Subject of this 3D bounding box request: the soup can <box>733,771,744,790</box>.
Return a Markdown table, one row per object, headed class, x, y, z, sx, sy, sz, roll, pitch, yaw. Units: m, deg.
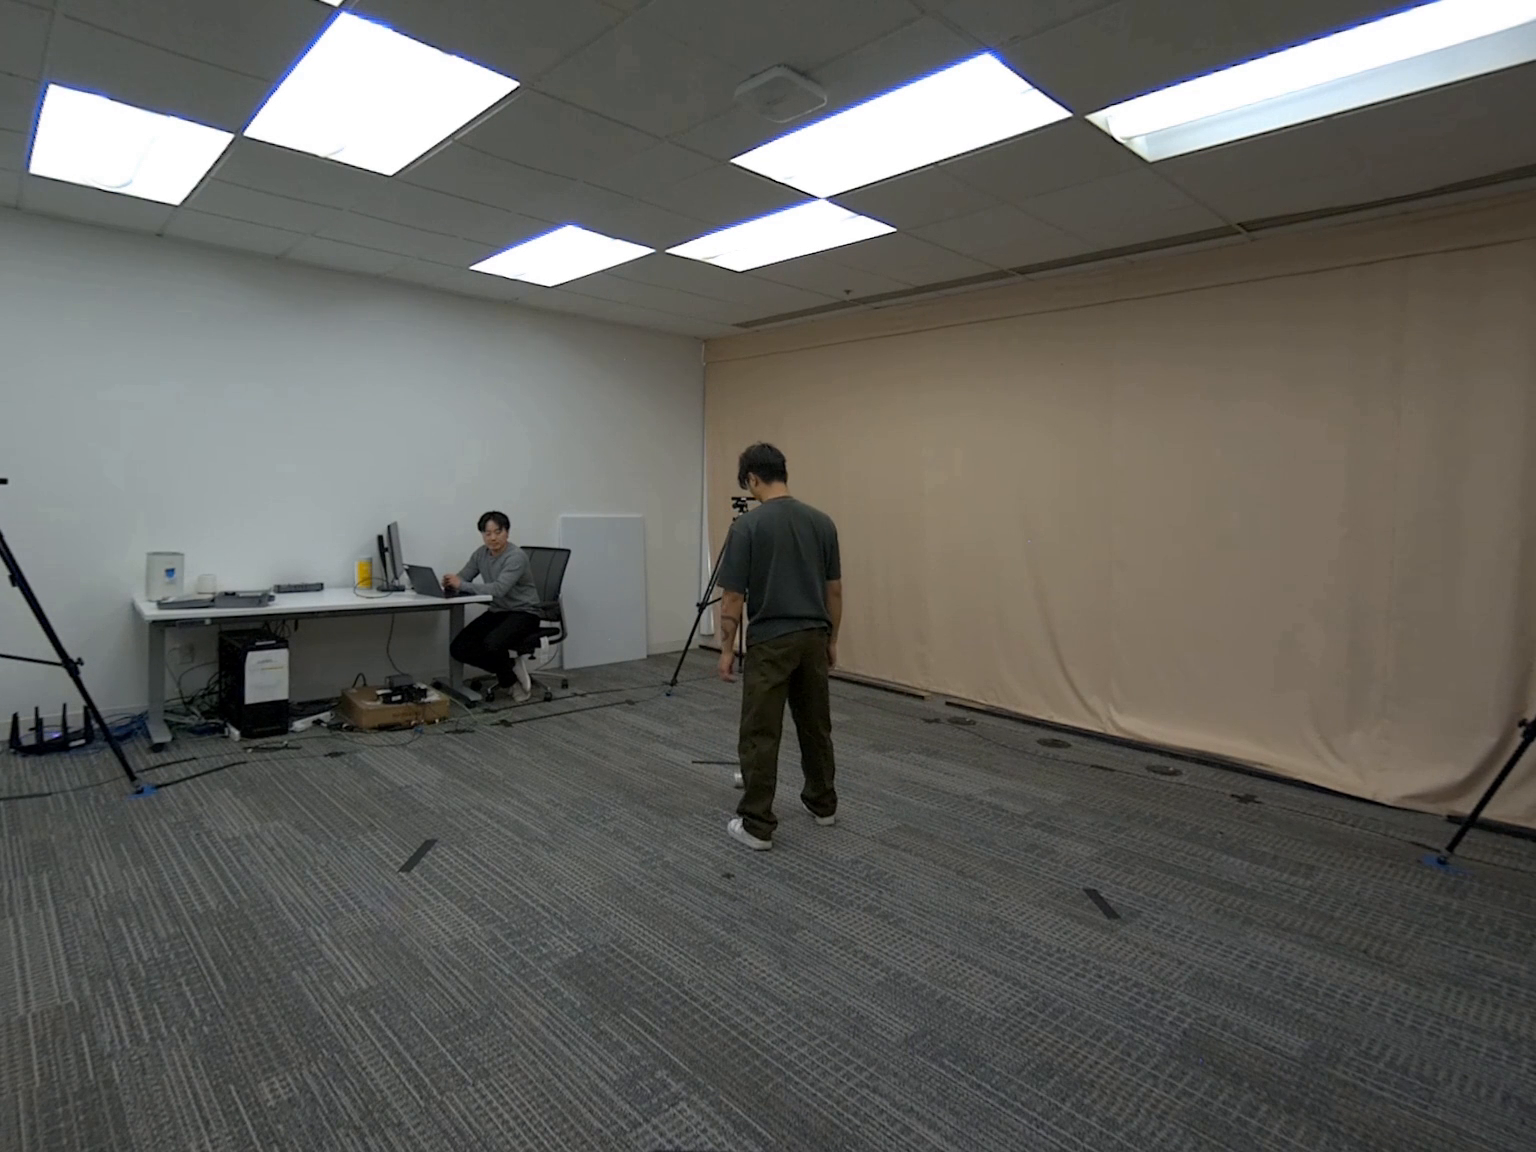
| class | x | y | z | sx | sy | sz | roll | pitch | yaw |
| --- | --- | --- | --- | --- | --- | --- | --- | --- | --- |
| soup can | -0.116 | 0.990 | 4.082 | 0.121 | 0.067 | 0.067 | 5 | 4 | -5 |
